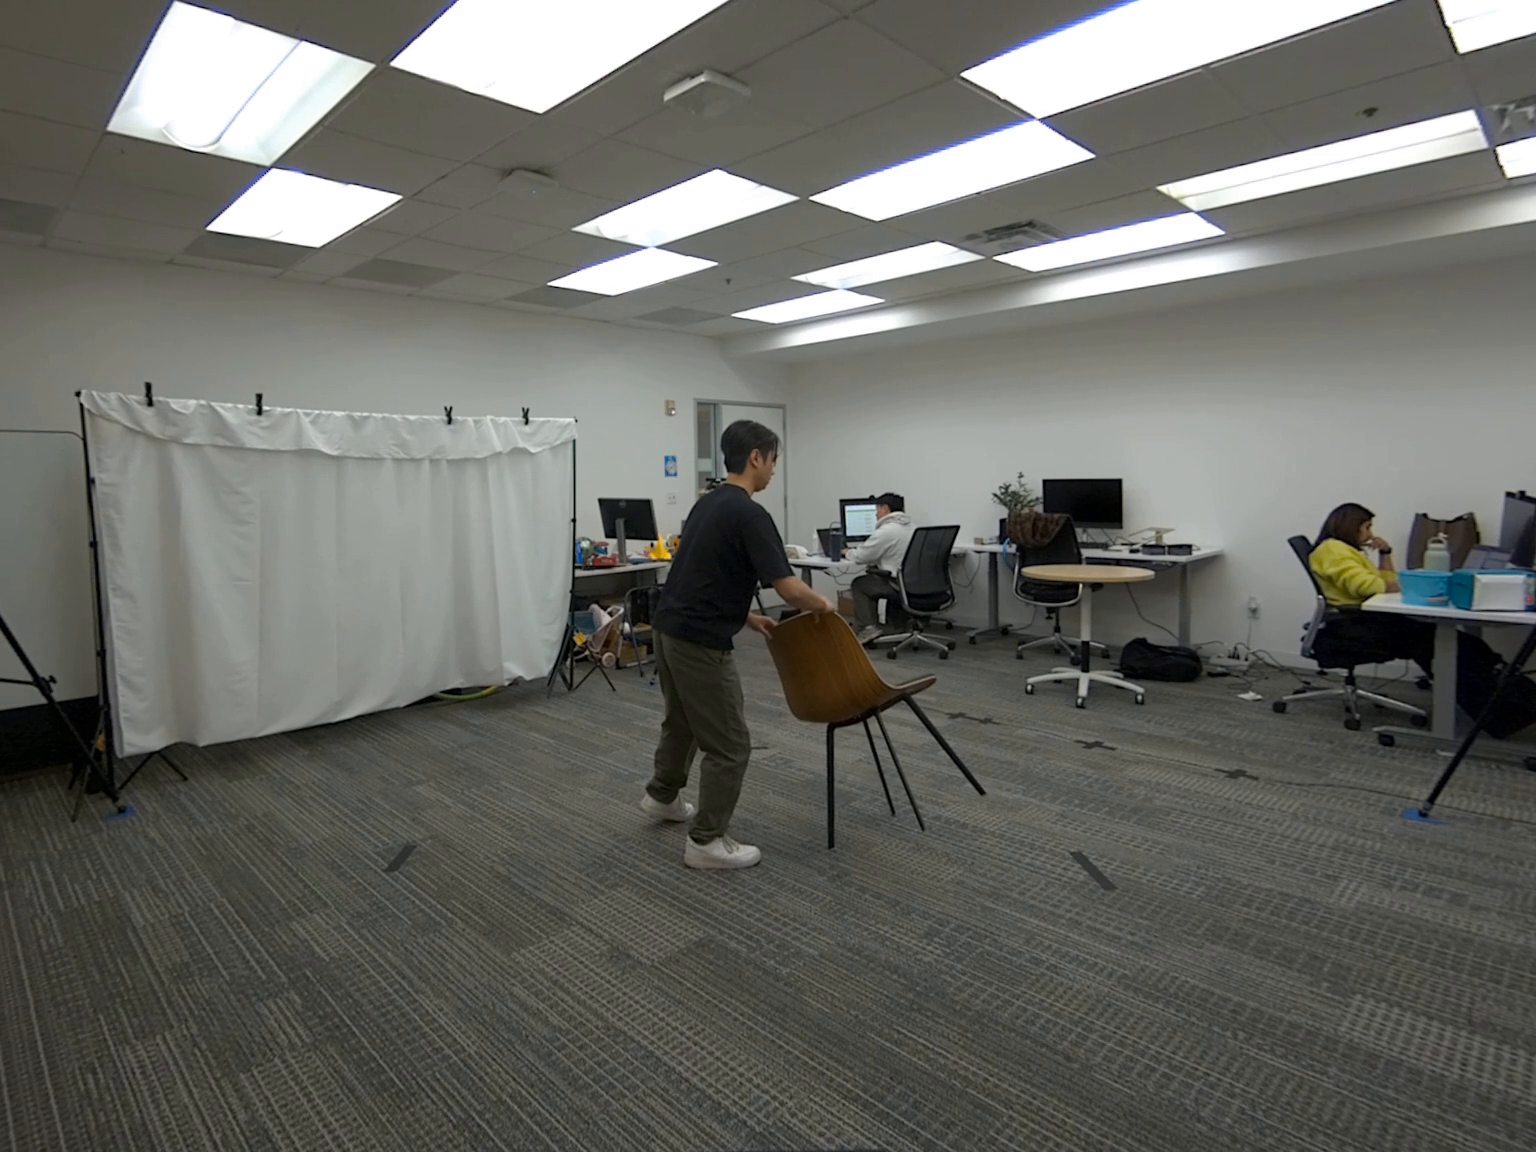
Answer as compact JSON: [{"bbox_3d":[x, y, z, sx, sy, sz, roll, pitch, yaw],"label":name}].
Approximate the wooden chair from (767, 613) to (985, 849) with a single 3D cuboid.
[{"bbox_3d":[0.395,0.532,3.319,0.483,0.888,0.511,-30,-11,40],"label":"wooden chair"}]
